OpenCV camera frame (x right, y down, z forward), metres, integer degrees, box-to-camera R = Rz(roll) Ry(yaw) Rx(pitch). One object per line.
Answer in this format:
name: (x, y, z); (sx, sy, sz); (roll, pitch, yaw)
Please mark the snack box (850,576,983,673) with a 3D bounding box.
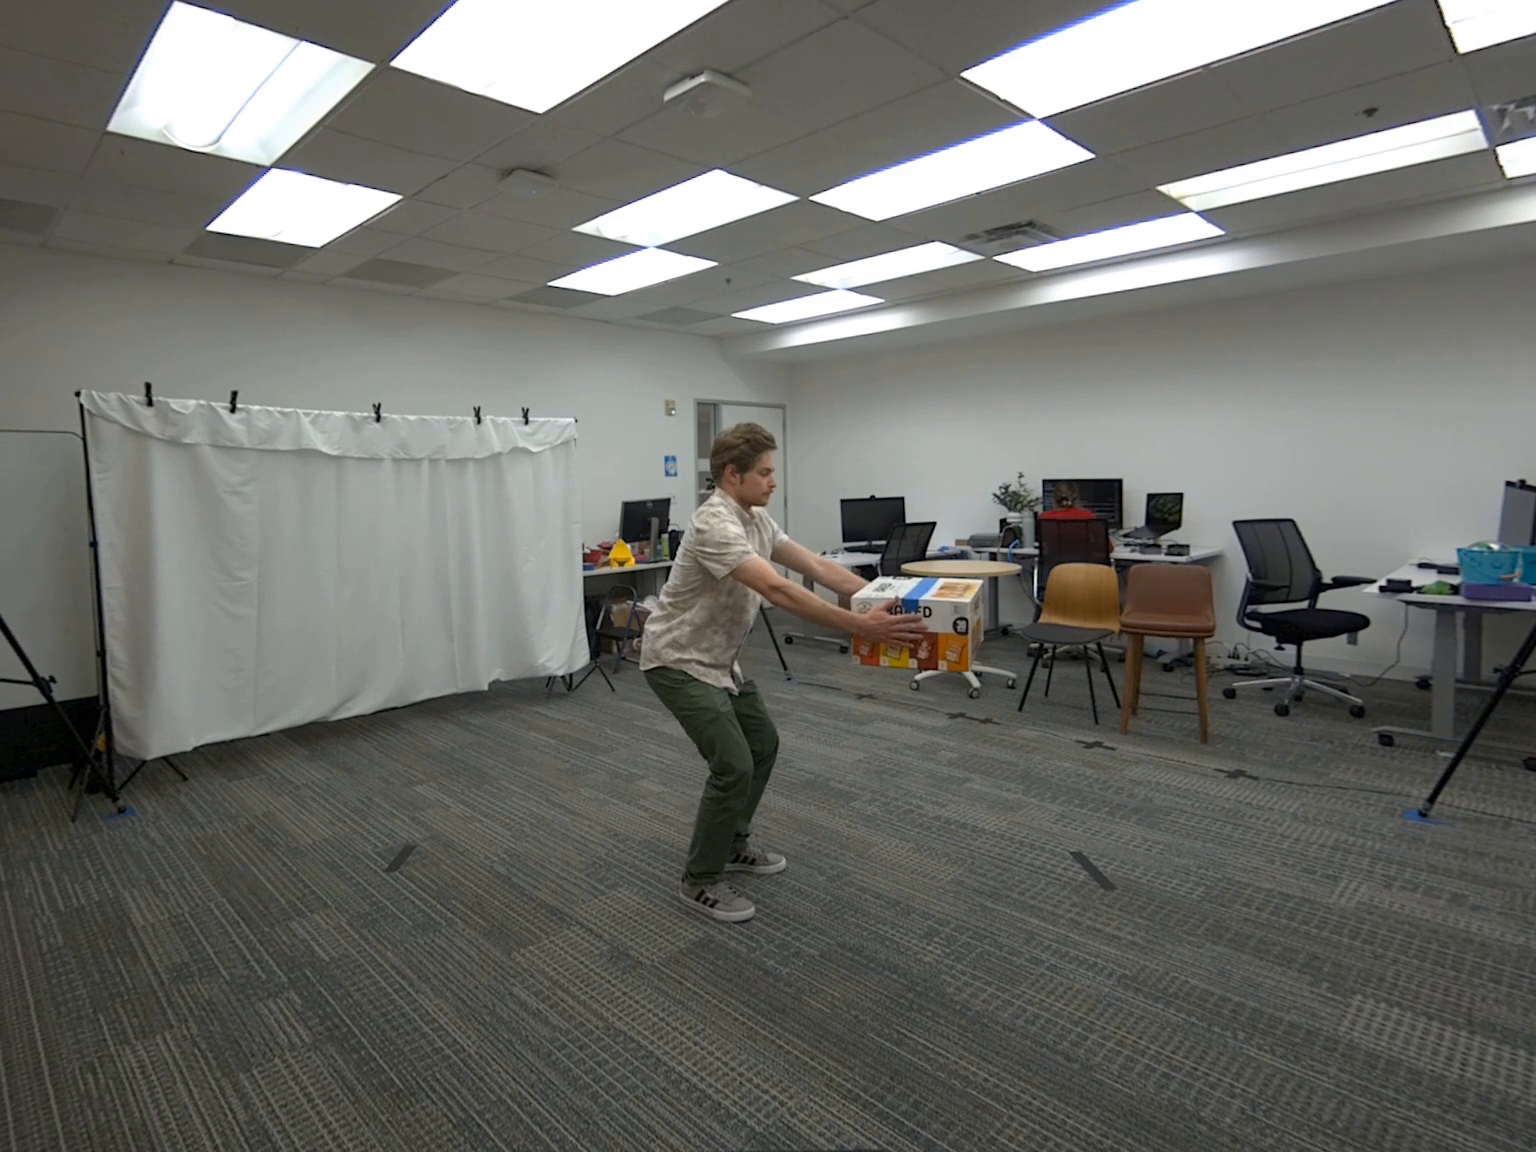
snack box: (0.468, 0.145, 2.637); (0.347, 0.204, 0.400); (2, 9, 21)
